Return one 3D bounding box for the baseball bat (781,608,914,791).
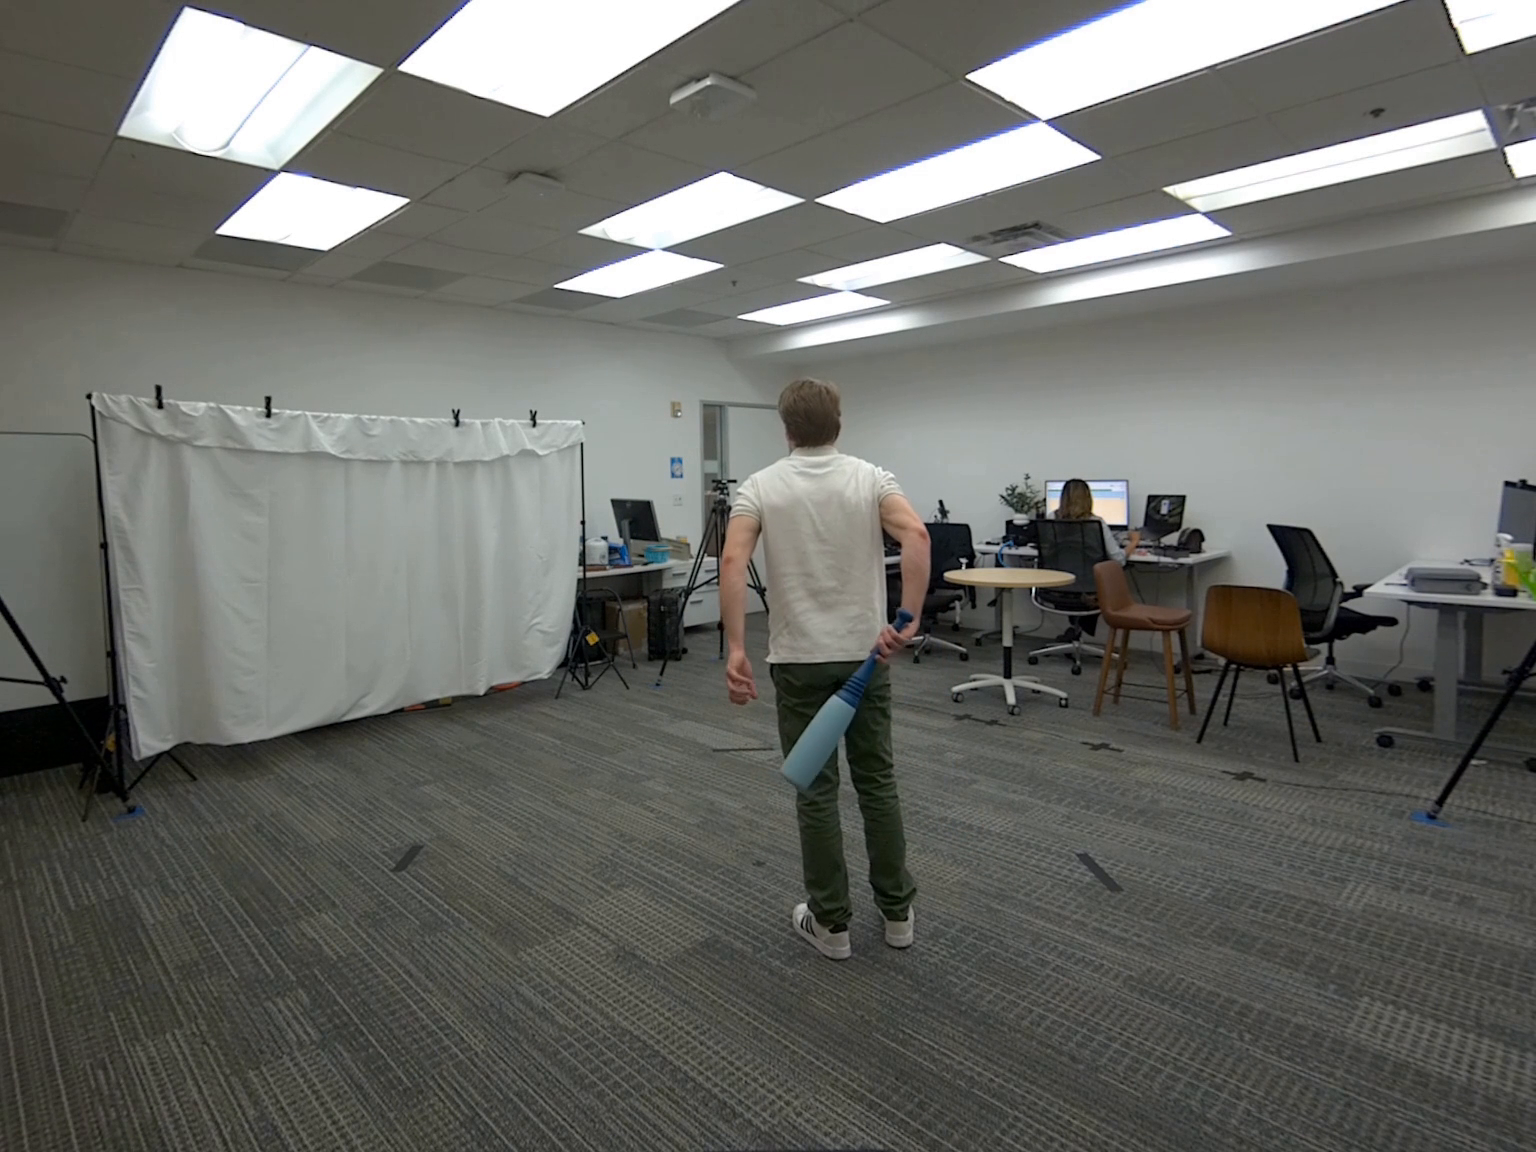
[{"bbox_3d":[0.214,0.321,2.235,0.089,0.544,0.088,33,-7,2],"label":"baseball bat"}]
